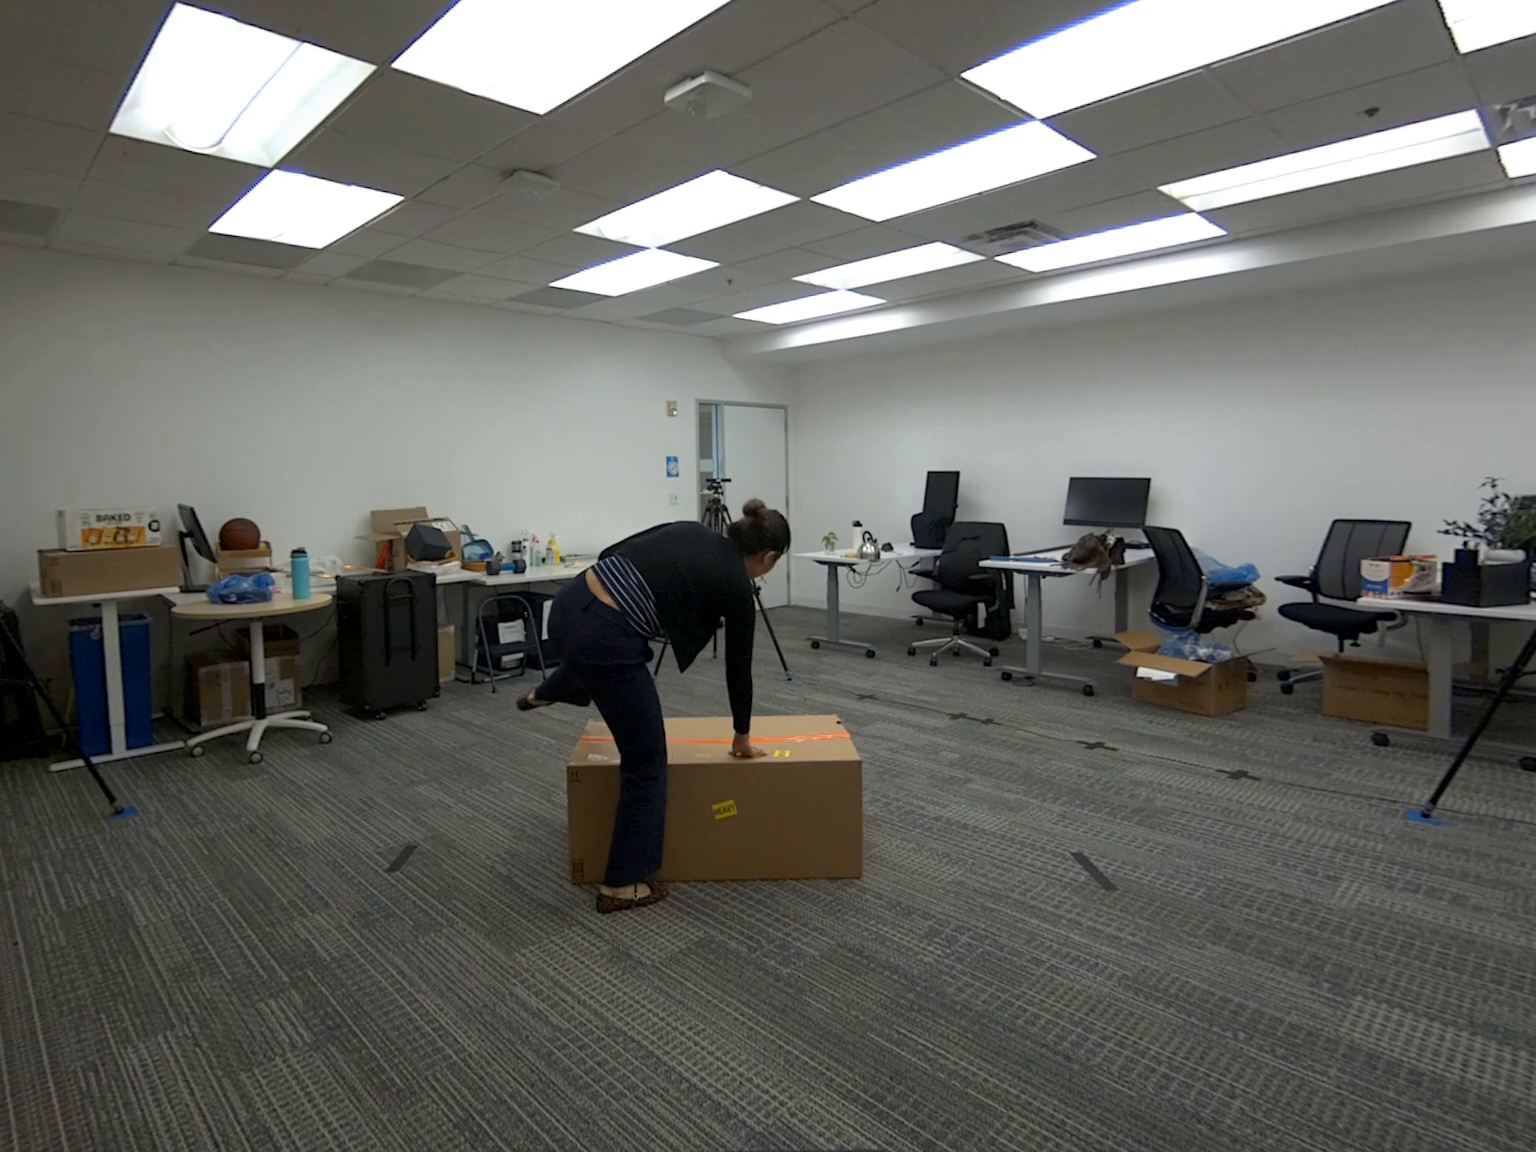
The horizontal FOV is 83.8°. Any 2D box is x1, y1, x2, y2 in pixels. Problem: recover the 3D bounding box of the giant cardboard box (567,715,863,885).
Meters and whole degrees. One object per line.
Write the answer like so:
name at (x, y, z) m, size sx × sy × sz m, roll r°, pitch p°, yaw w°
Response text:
giant cardboard box at (-0.202, 0.817, 3.244) m, size 1.025 × 0.424 × 0.581 m, roll -1°, pitch 6°, yaw -1°
